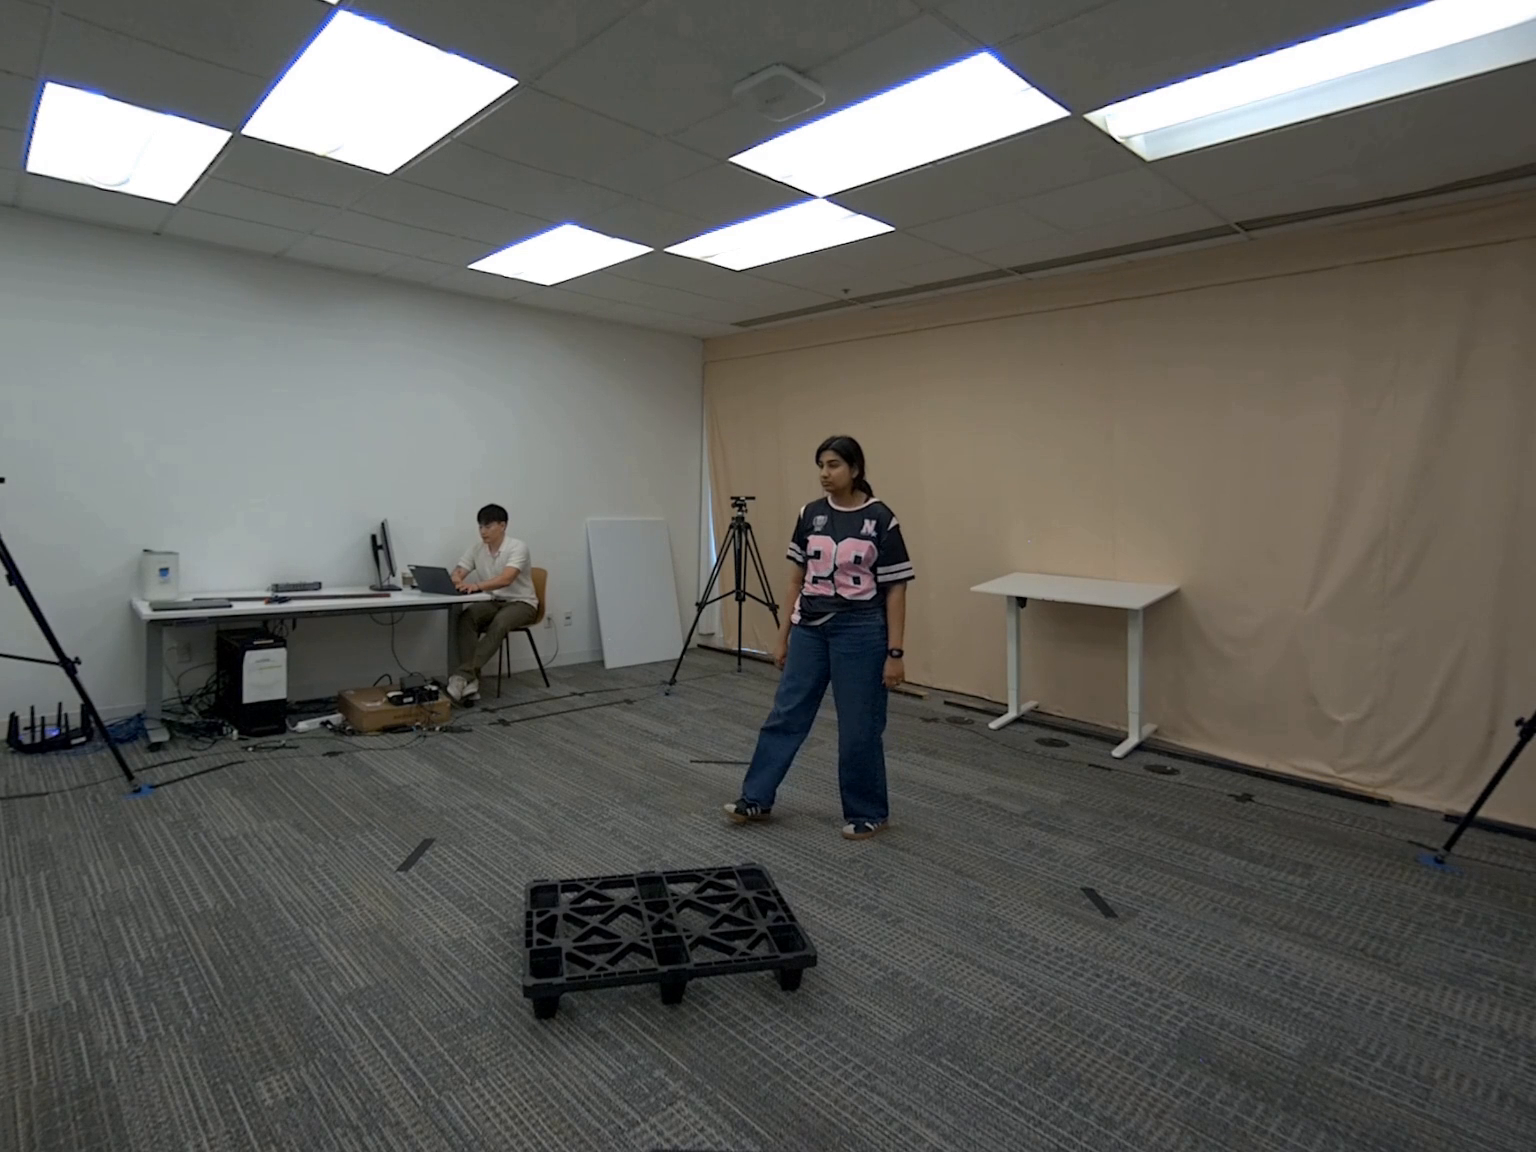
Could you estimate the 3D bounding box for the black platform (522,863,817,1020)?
[{"bbox_3d":[-0.330,1.081,2.535,0.797,0.143,0.613,0,5,-13],"label":"black platform"}]
